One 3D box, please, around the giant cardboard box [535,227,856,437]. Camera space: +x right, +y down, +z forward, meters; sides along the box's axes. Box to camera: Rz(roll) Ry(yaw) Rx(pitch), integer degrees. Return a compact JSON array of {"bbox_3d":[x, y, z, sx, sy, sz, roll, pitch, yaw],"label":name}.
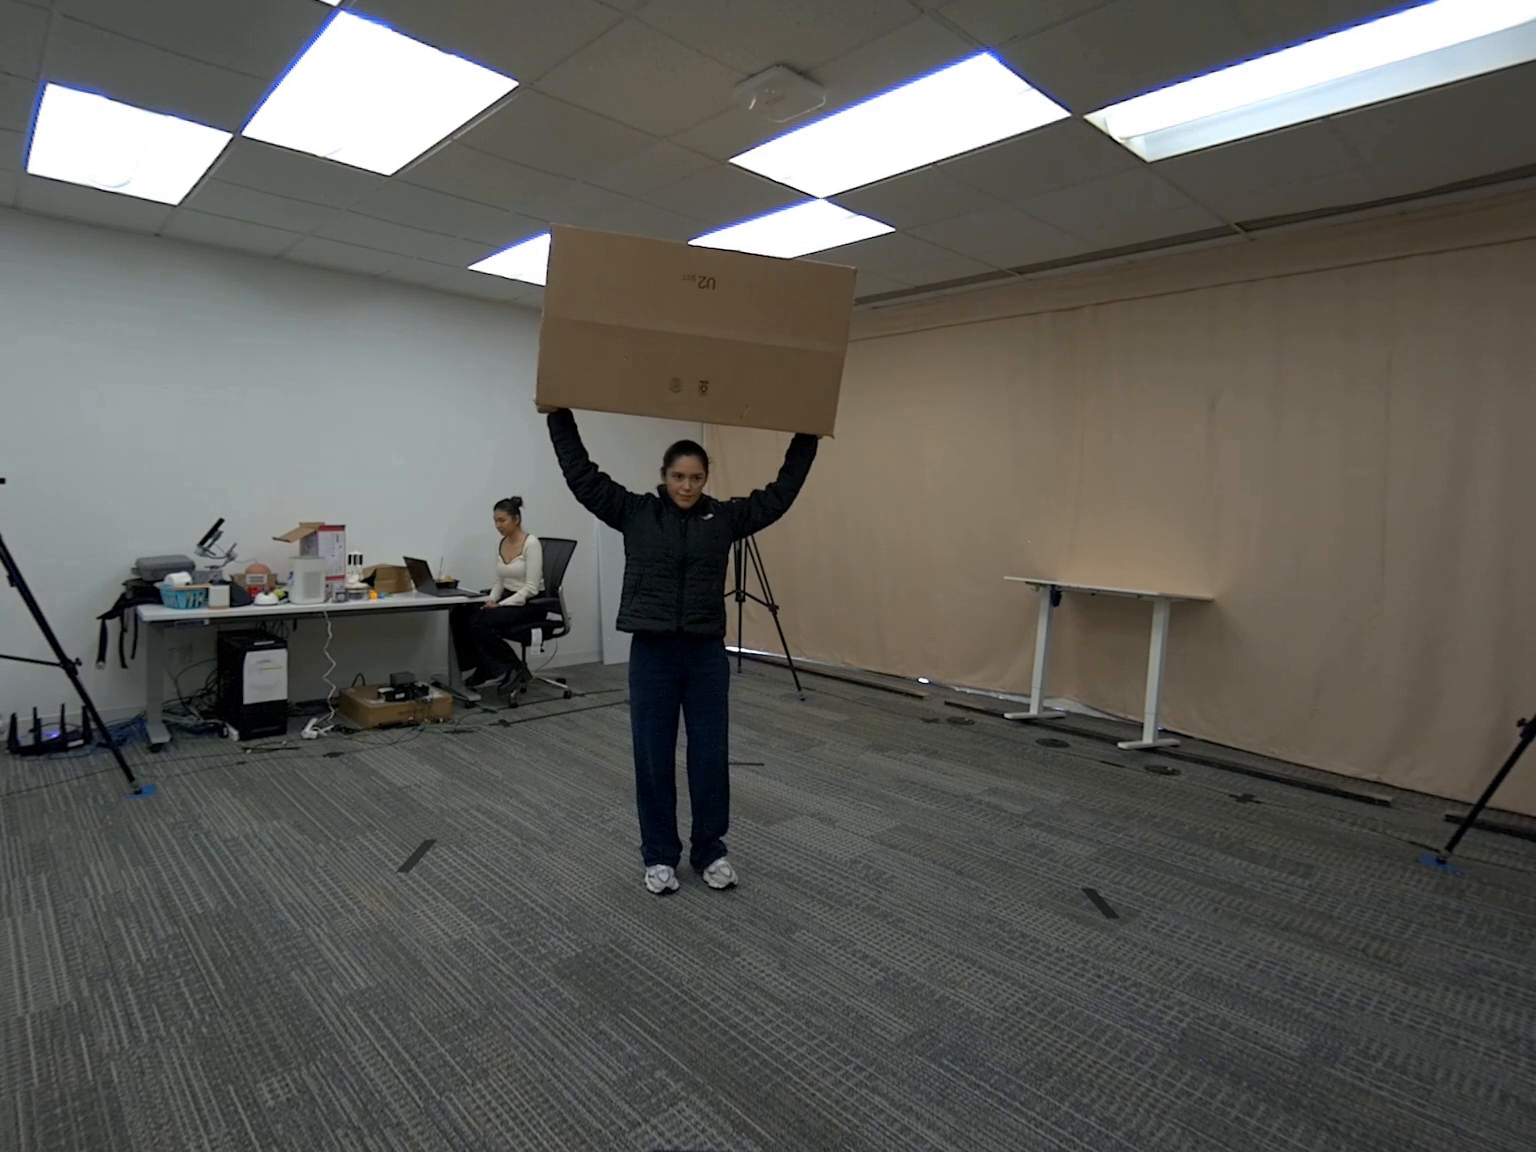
[{"bbox_3d":[-0.268,-0.842,2.977,1.017,0.580,0.454,5,12,-12],"label":"giant cardboard box"}]
